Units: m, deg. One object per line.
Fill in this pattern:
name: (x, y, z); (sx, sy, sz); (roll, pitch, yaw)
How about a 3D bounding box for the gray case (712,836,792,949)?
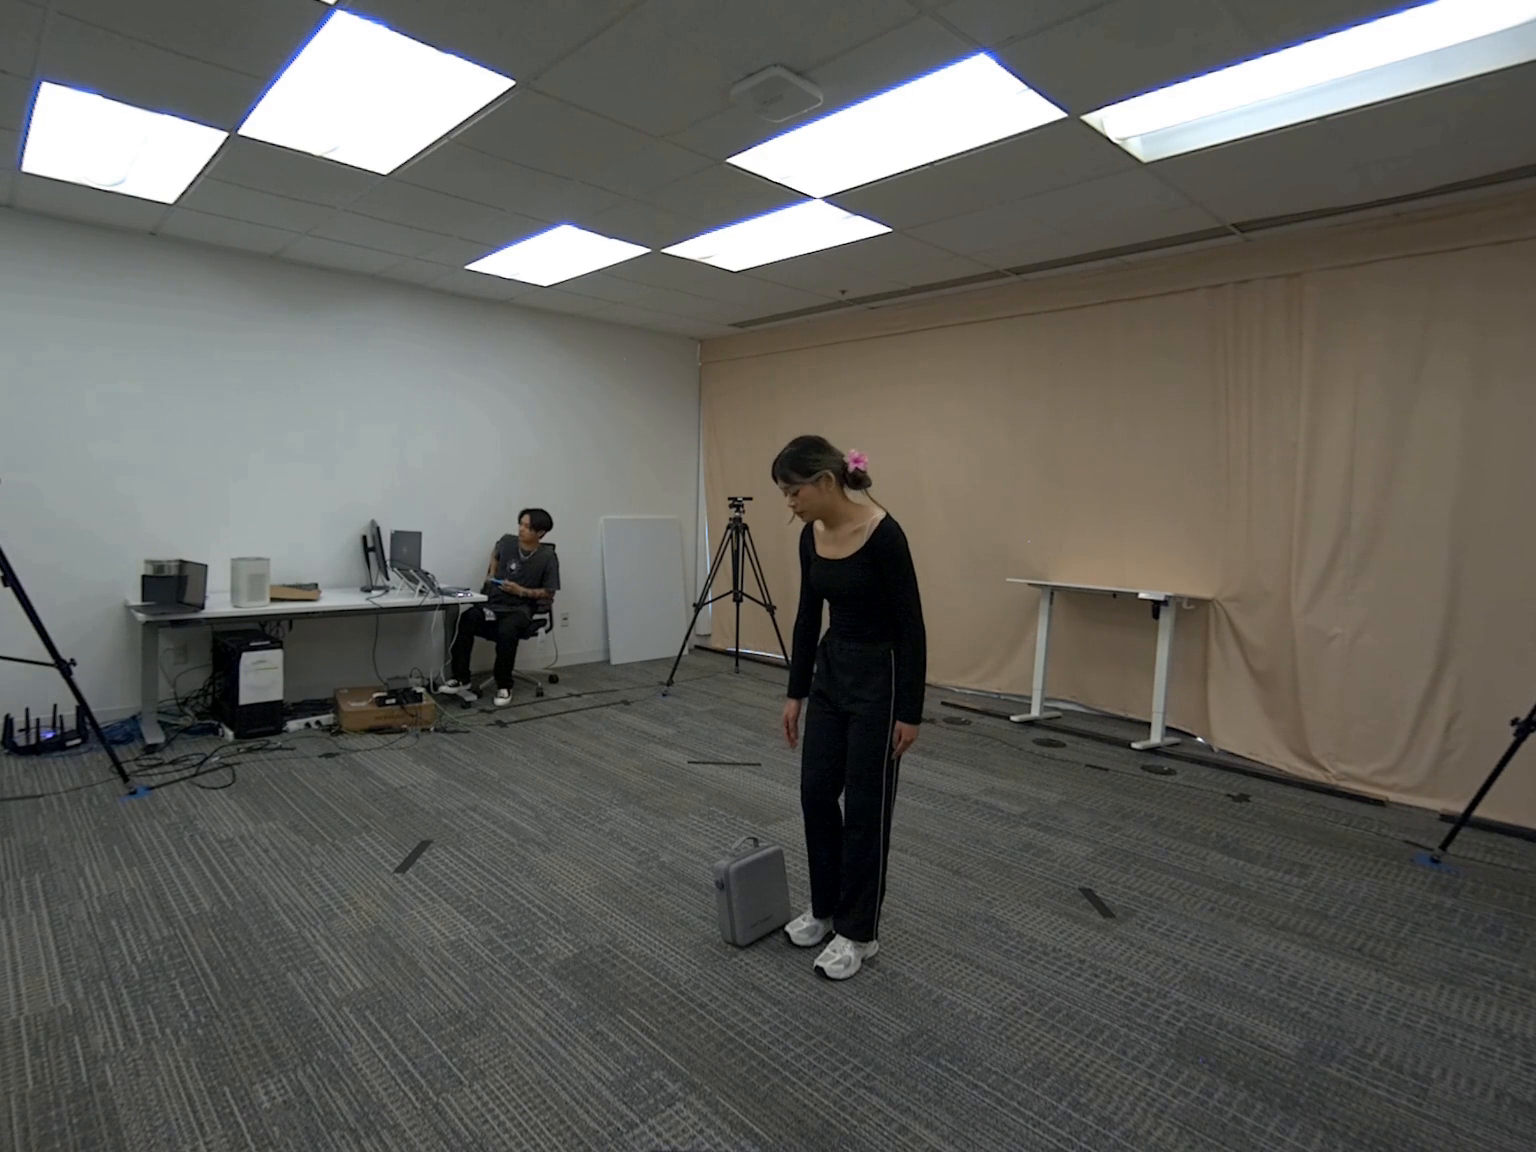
gray case: (-0.058, 1.011, 2.705); (0.106, 0.262, 0.251); (-12, -6, 43)
